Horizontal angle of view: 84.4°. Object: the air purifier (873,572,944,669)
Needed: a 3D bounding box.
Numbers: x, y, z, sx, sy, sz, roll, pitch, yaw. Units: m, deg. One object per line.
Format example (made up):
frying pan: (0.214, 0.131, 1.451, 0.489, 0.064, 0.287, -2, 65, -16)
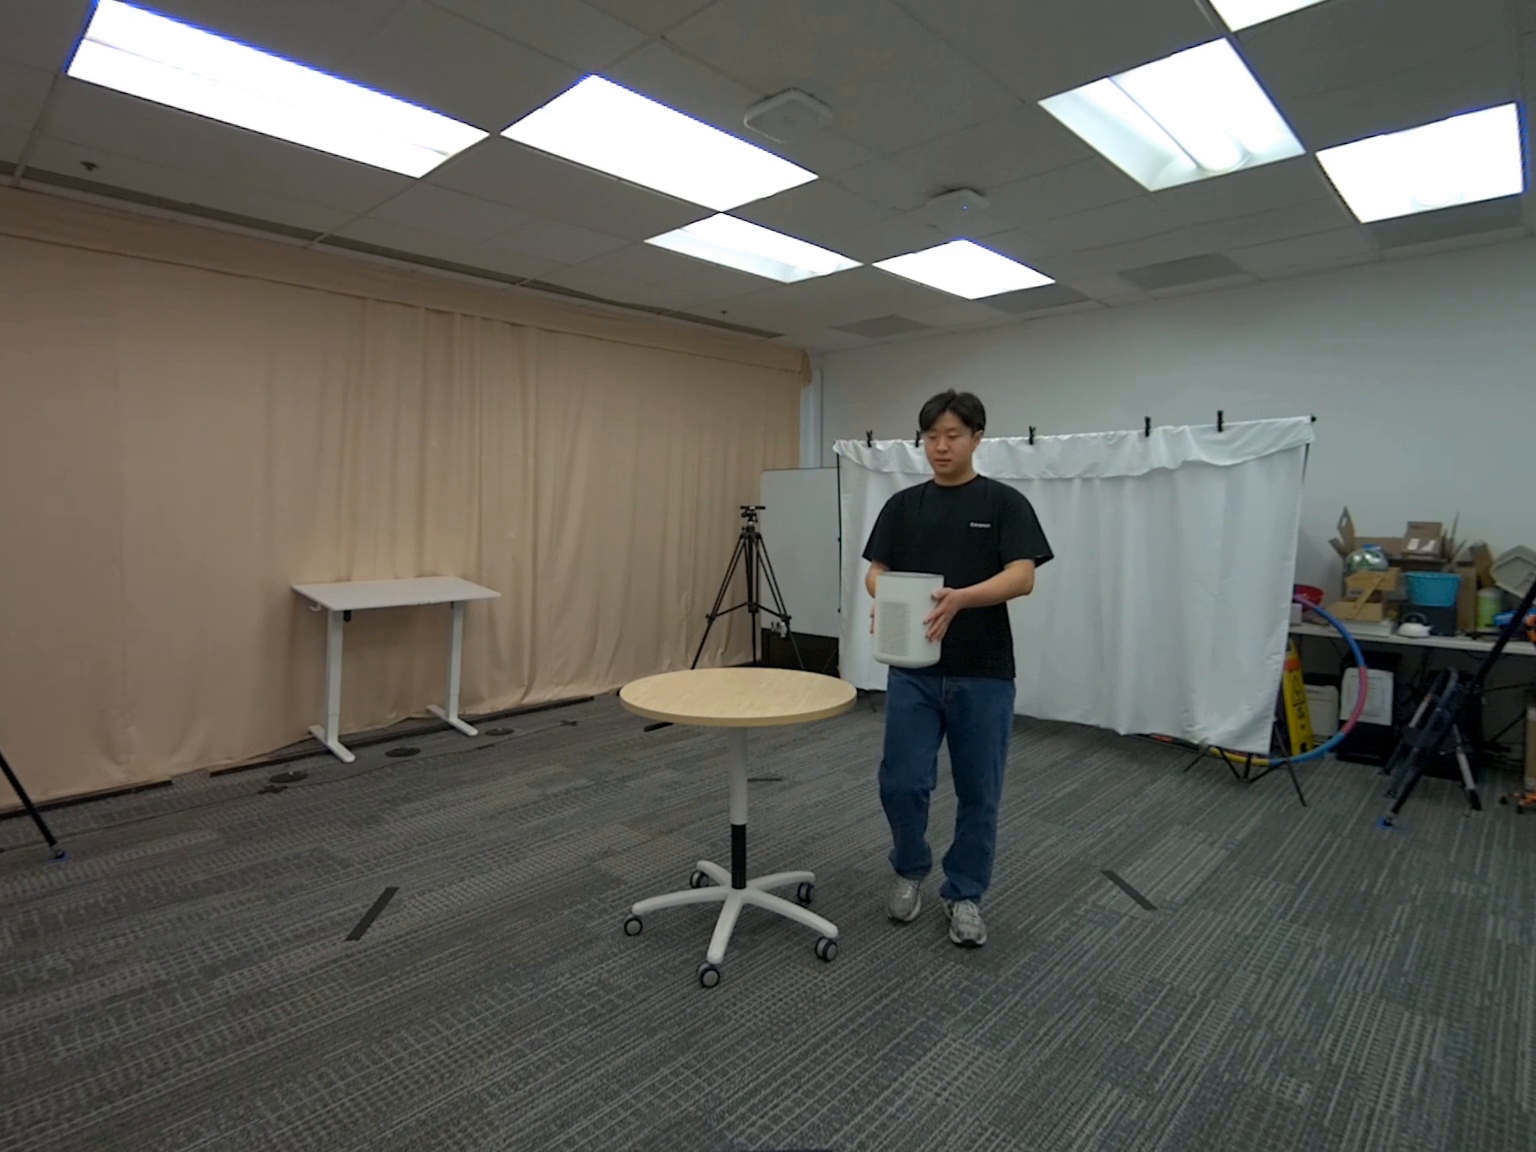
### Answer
air purifier: (0.415, 0.127, 2.482, 0.177, 0.265, 0.166, 4, 3, 35)
